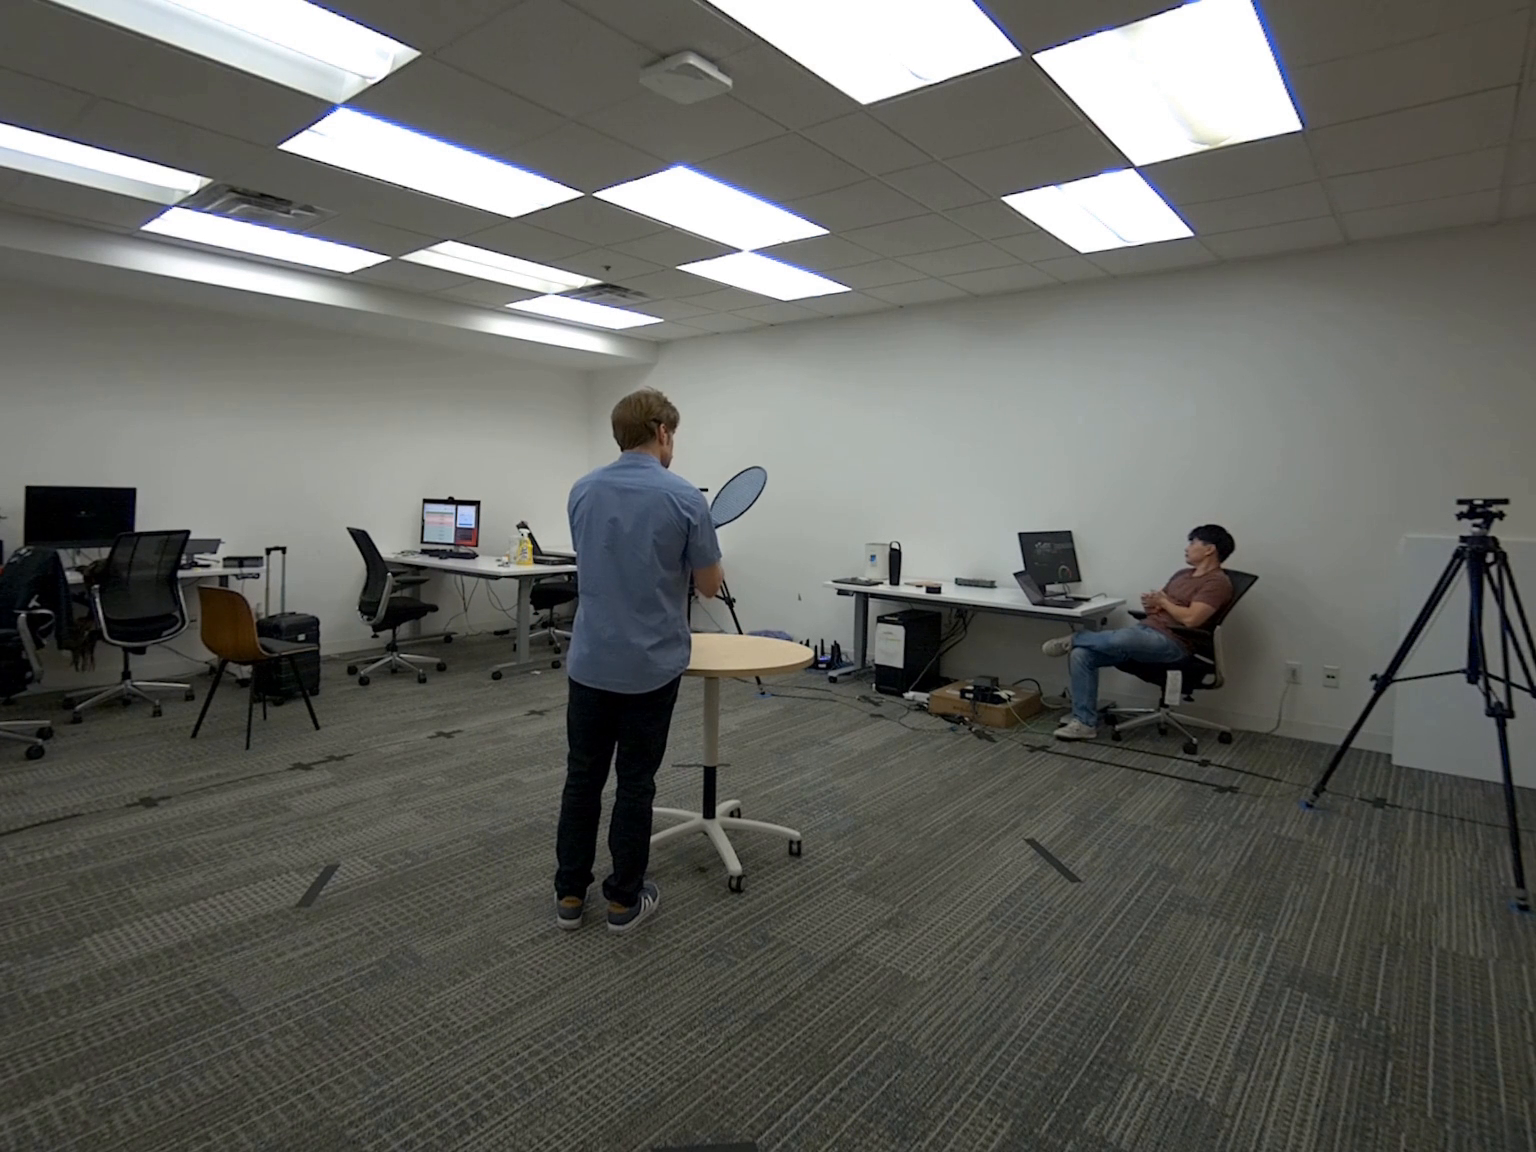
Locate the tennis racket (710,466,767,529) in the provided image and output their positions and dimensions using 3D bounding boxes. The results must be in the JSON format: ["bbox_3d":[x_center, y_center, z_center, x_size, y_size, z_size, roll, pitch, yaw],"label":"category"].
[{"bbox_3d":[-0.173,-0.220,2.995,0.030,0.435,0.221,40,-20,-34],"label":"tennis racket"}]
